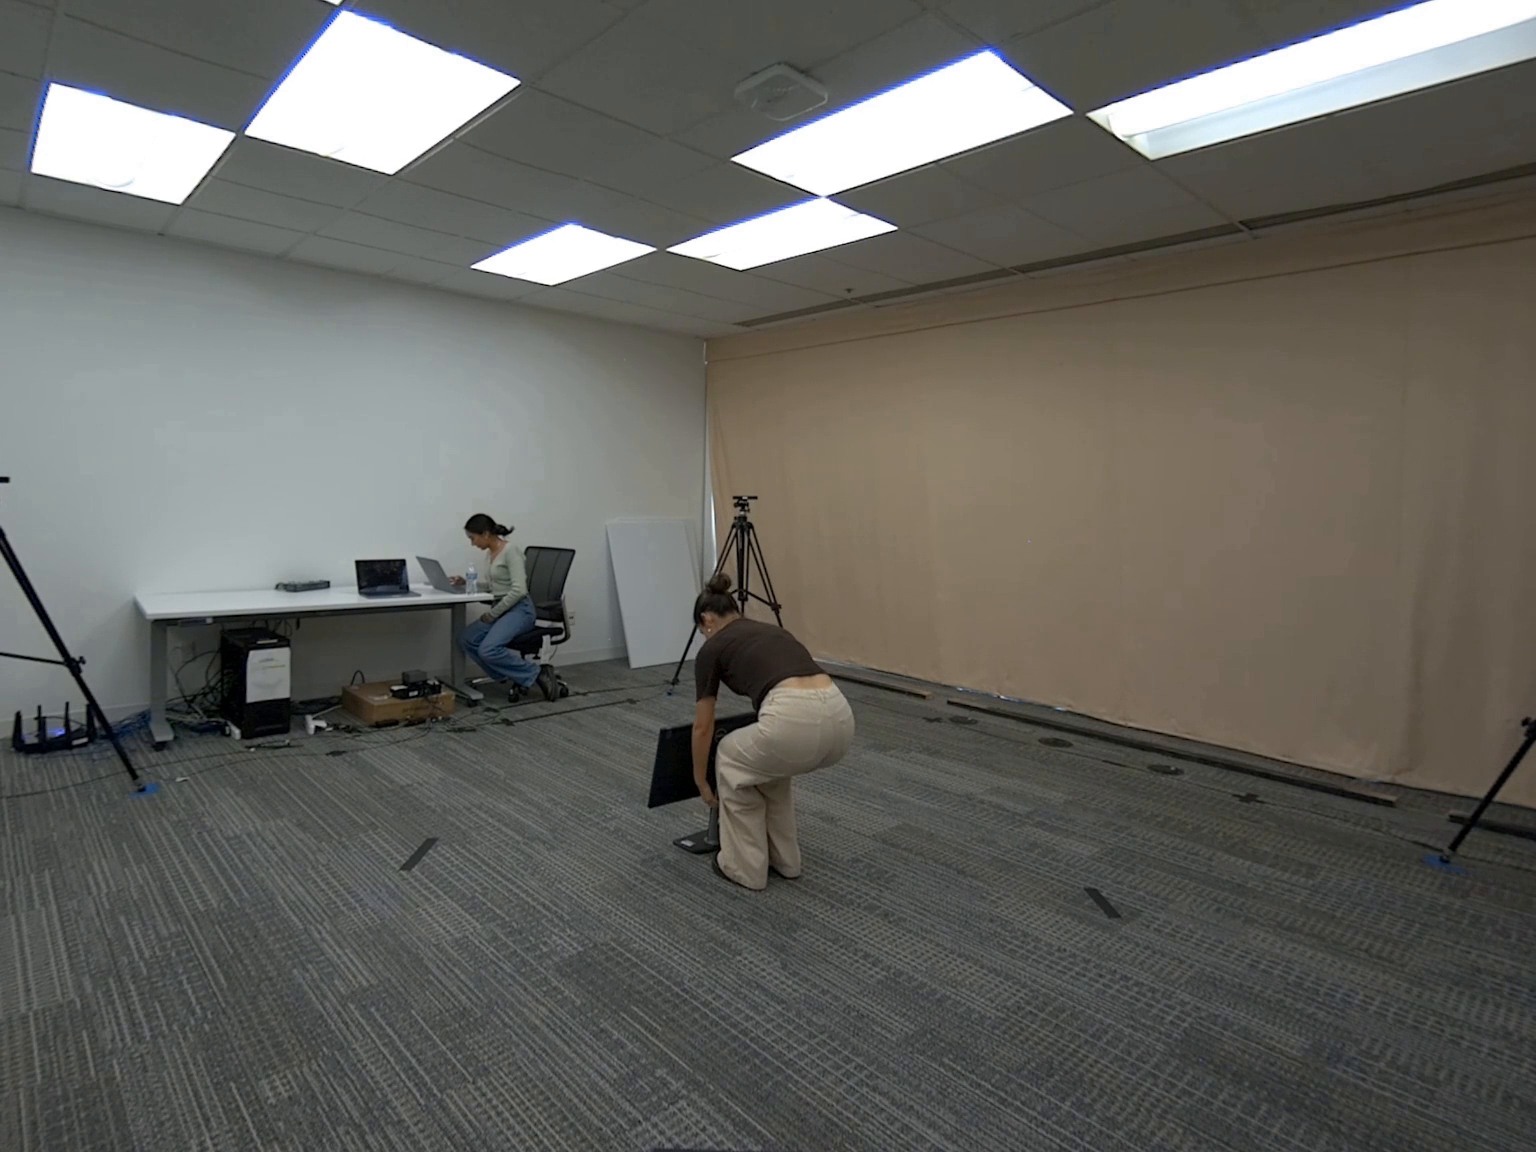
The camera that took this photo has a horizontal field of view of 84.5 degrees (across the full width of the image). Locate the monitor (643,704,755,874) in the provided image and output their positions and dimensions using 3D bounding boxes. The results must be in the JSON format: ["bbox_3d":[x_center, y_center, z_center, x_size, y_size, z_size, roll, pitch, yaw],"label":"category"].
[{"bbox_3d":[-0.215,0.826,3.381,0.527,0.521,0.192,-3,6,-40],"label":"monitor"}]
